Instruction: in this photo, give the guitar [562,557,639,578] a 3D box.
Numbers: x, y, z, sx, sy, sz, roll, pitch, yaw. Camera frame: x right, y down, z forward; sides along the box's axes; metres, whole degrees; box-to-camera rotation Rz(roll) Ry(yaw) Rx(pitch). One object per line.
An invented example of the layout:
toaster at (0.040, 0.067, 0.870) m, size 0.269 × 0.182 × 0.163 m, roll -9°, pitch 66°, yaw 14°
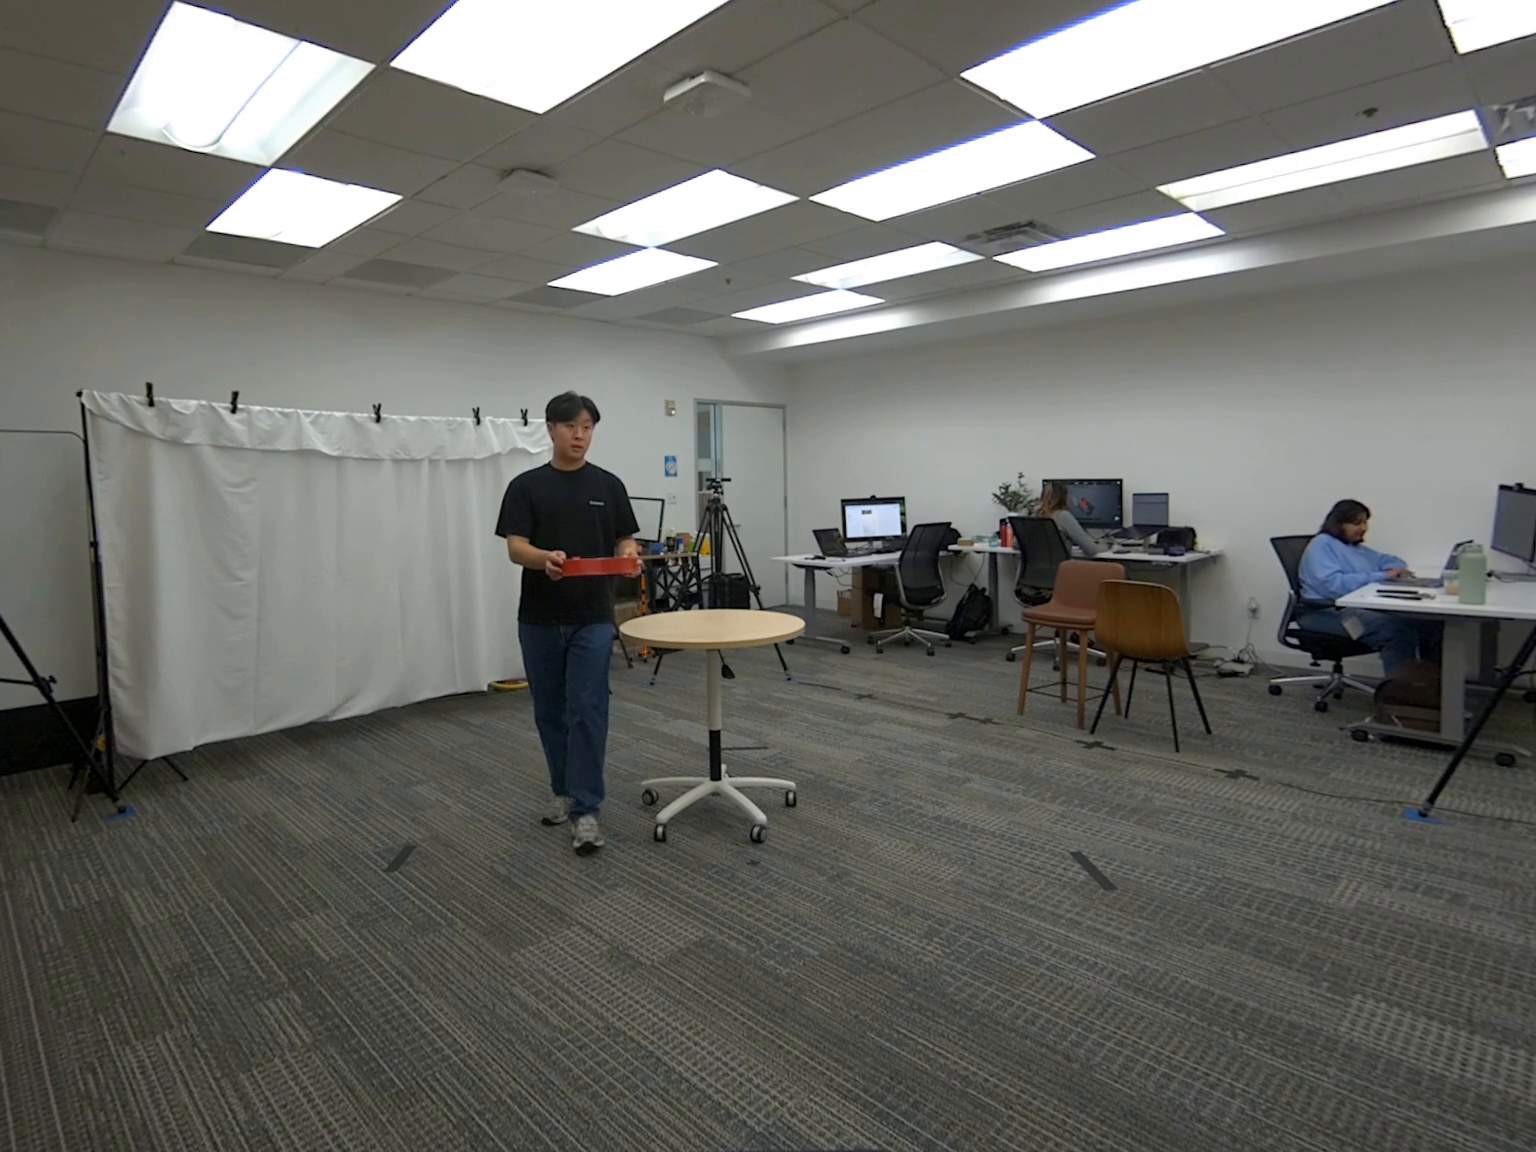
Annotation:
guitar at (-0.508, -0.040, 3.162) m, size 0.502 × 0.071 × 0.191 m, roll -2°, pitch -1°, yaw 9°
